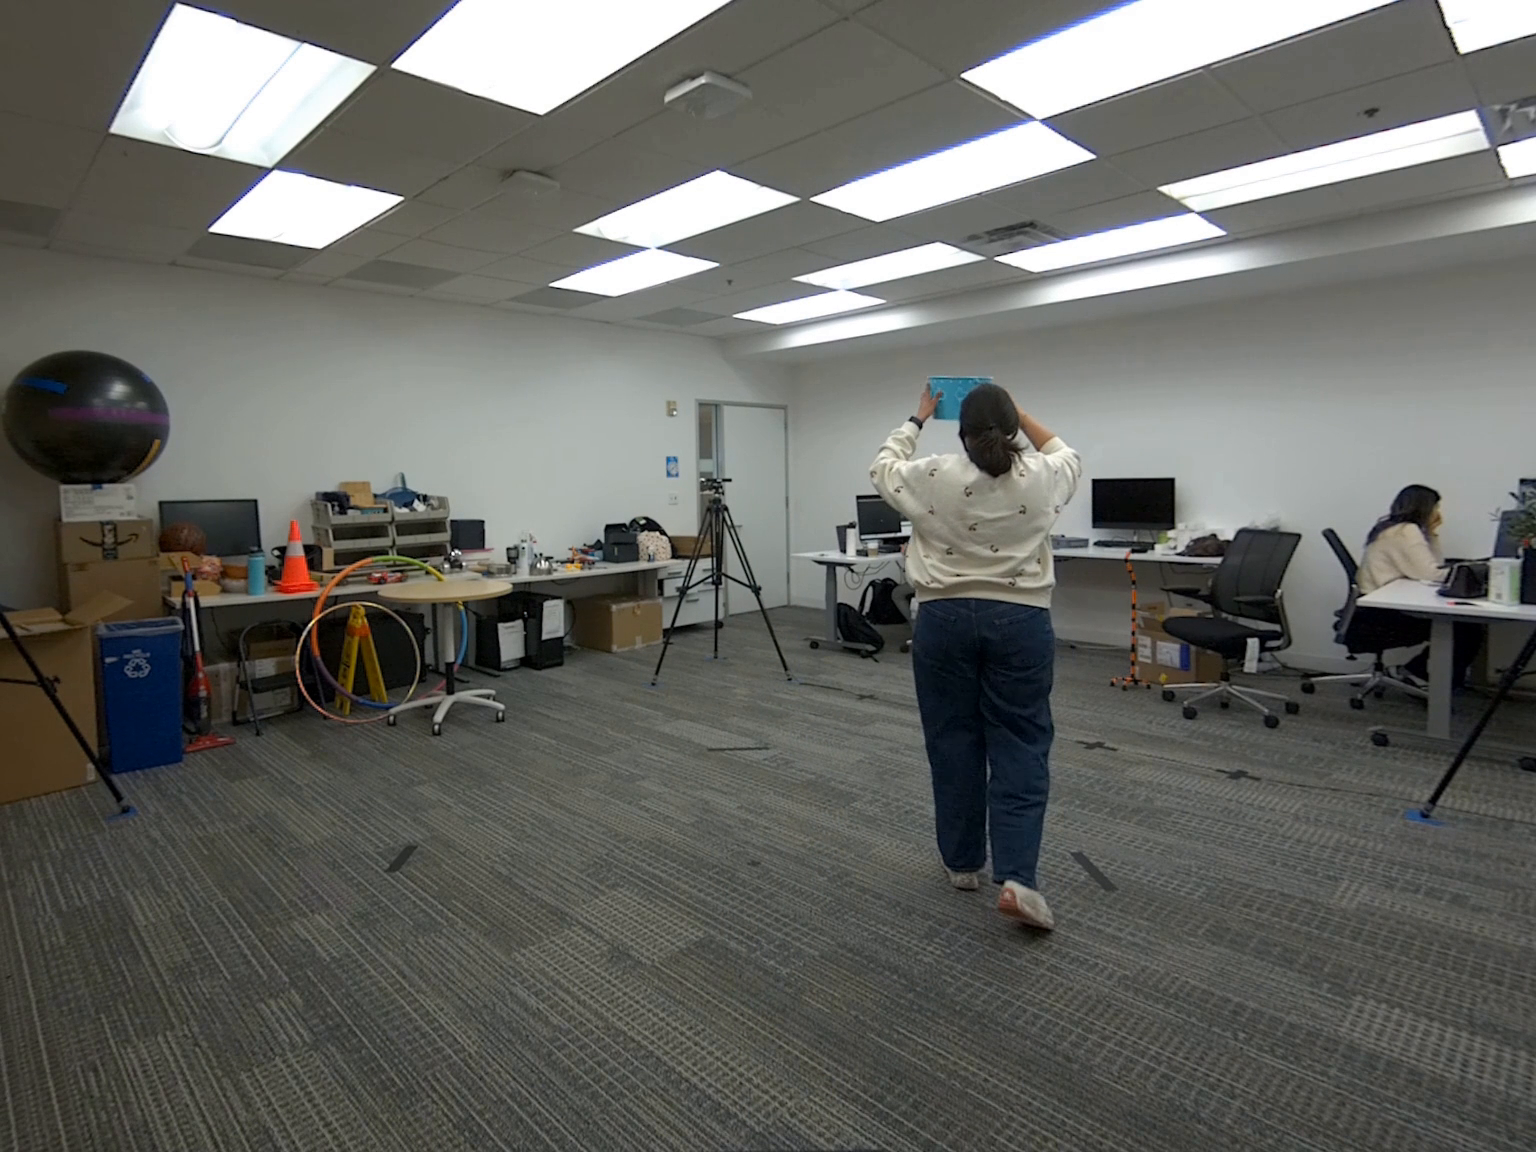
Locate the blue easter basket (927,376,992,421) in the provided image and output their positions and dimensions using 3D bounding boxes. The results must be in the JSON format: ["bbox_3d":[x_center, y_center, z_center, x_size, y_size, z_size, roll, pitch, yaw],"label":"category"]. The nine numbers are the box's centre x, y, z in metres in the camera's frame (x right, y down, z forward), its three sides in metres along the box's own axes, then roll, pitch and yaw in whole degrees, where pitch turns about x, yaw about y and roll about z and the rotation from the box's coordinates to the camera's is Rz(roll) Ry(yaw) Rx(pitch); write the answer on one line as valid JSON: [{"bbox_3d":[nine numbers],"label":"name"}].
[{"bbox_3d":[0.713,-0.651,3.107,0.243,0.154,0.246,0,12,-2],"label":"blue easter basket"}]
